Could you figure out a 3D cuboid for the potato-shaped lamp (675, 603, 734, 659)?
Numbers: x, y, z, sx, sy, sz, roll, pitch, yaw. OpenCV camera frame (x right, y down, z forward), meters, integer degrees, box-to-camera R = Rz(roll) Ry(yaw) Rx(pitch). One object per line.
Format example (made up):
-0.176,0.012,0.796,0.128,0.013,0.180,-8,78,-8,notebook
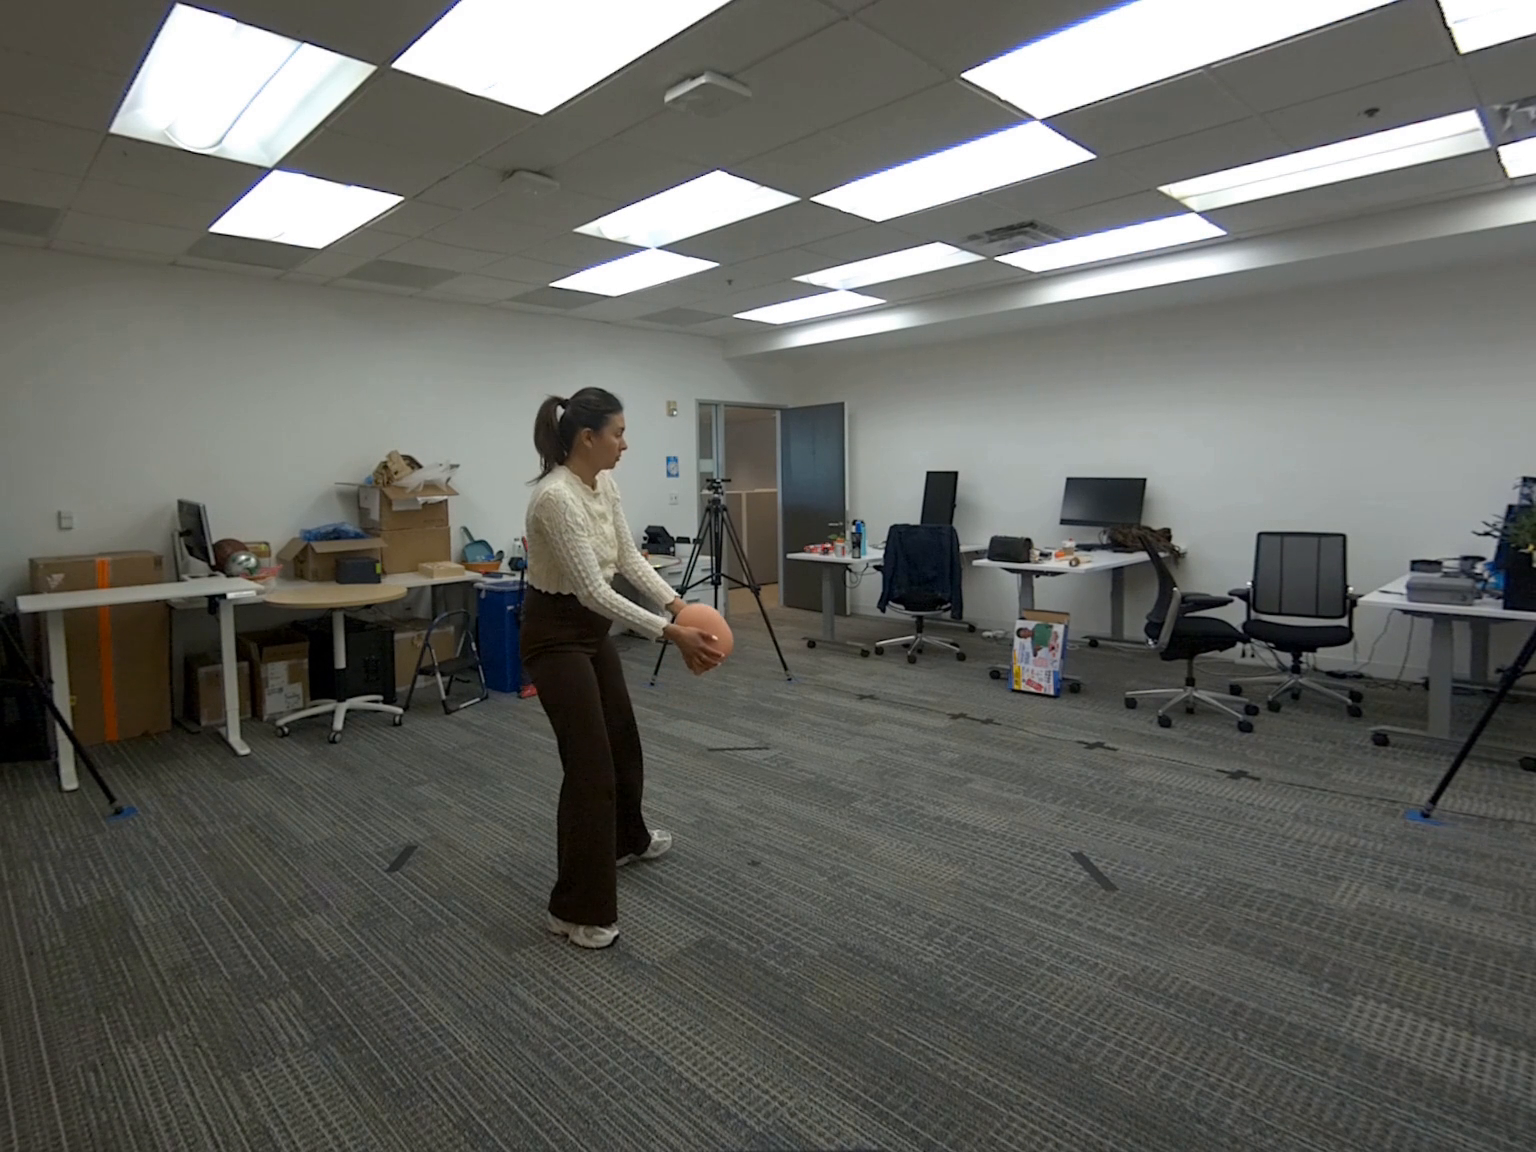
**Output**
-0.218,0.186,2.654,0.171,0.197,0.165,-33,4,3,potato-shaped lamp
